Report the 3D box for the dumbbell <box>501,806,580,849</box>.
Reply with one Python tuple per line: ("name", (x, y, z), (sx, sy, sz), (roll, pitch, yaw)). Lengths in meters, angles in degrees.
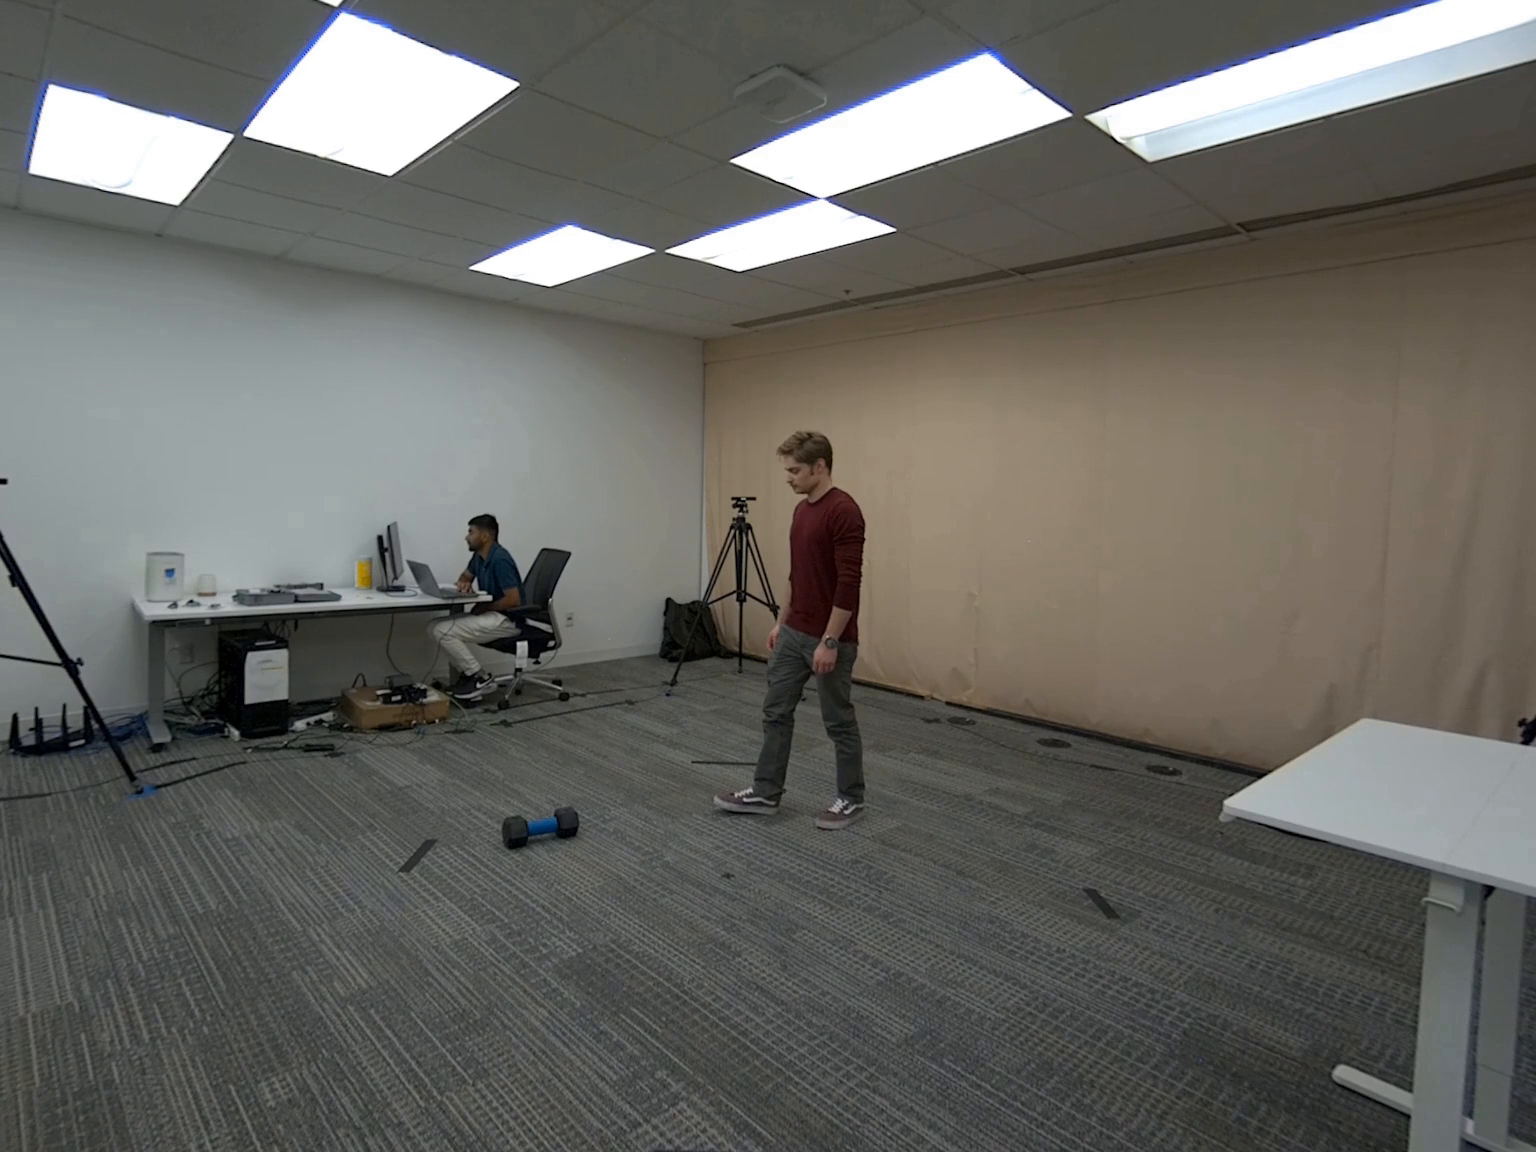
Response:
("dumbbell", (-0.924, 1.013, 3.387), (0.287, 0.125, 0.109), (-2, -26, -33))
